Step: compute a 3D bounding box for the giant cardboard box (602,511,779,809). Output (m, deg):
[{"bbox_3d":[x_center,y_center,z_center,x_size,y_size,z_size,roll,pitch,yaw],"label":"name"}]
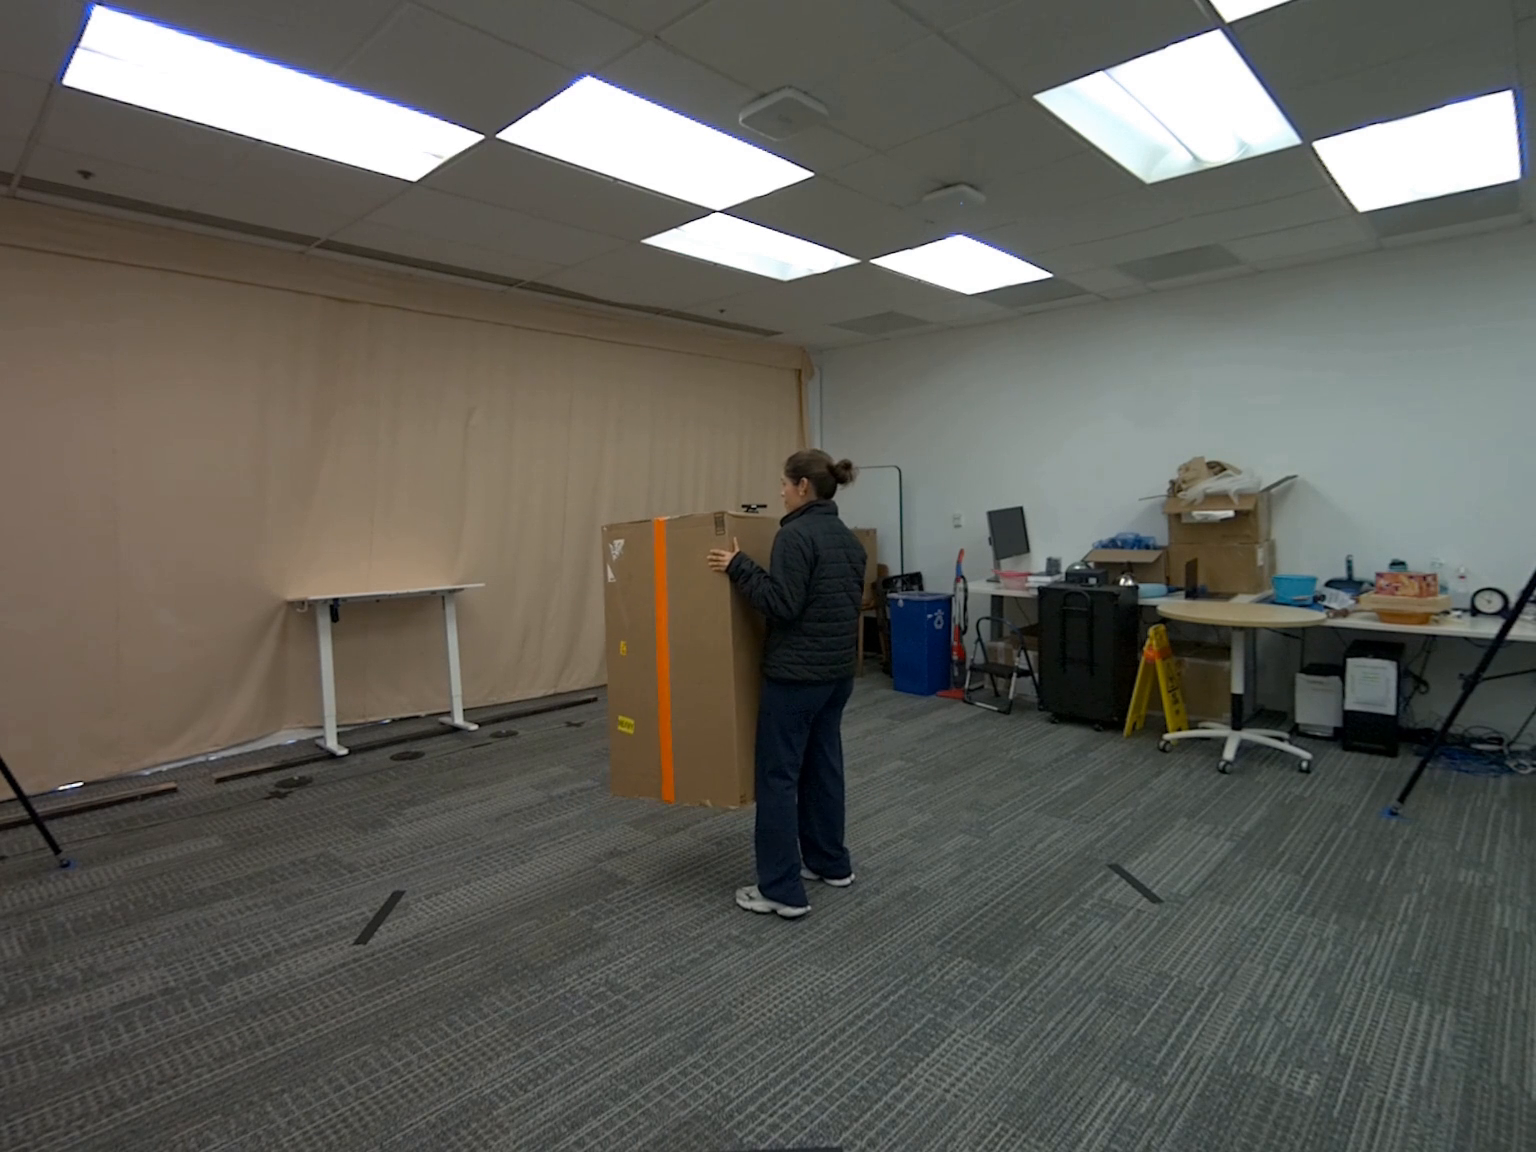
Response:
[{"bbox_3d":[-0.253,0.302,3.214,0.594,1.028,0.413,-5,-4,34],"label":"giant cardboard box"}]
